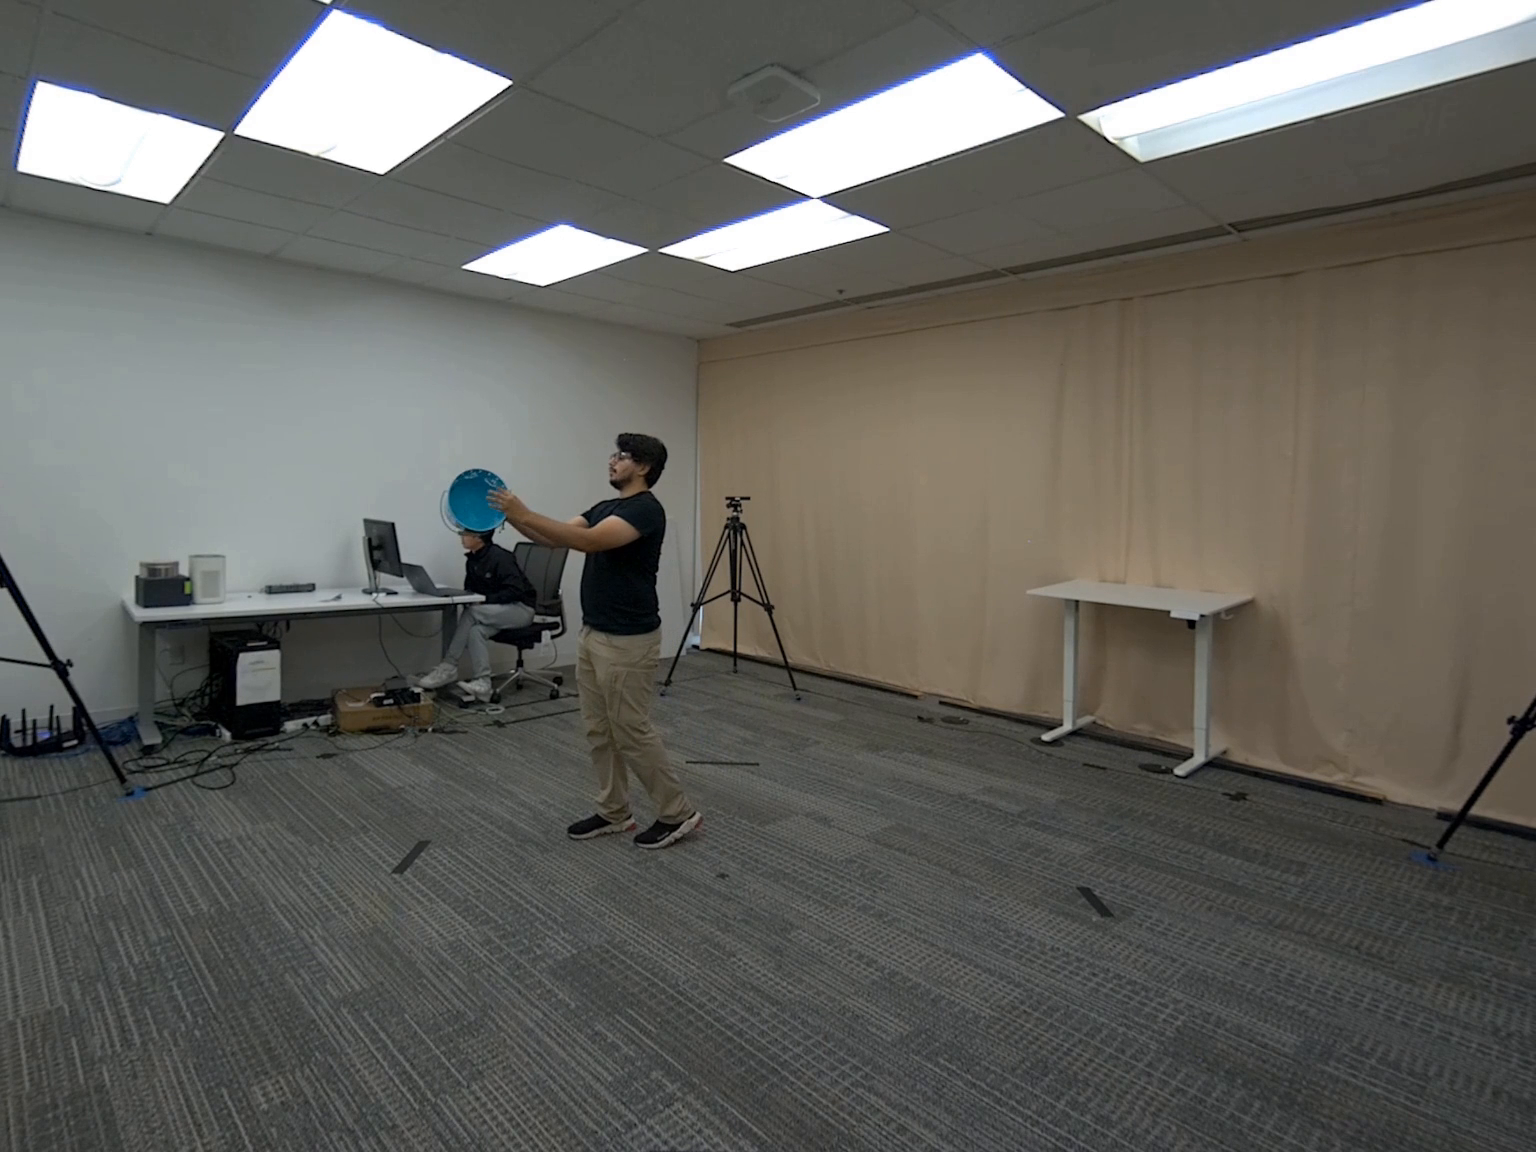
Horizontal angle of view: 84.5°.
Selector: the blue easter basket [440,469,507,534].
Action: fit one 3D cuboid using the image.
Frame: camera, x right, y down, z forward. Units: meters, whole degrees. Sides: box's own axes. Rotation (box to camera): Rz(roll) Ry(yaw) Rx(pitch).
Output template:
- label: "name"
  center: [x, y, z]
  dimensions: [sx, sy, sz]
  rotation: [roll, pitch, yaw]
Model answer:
- label: "blue easter basket"
  center: [-1.097, -0.269, 3.120]
  dimensions: [0.238, 0.245, 0.158]
  rotation: [-2, -7, -35]
